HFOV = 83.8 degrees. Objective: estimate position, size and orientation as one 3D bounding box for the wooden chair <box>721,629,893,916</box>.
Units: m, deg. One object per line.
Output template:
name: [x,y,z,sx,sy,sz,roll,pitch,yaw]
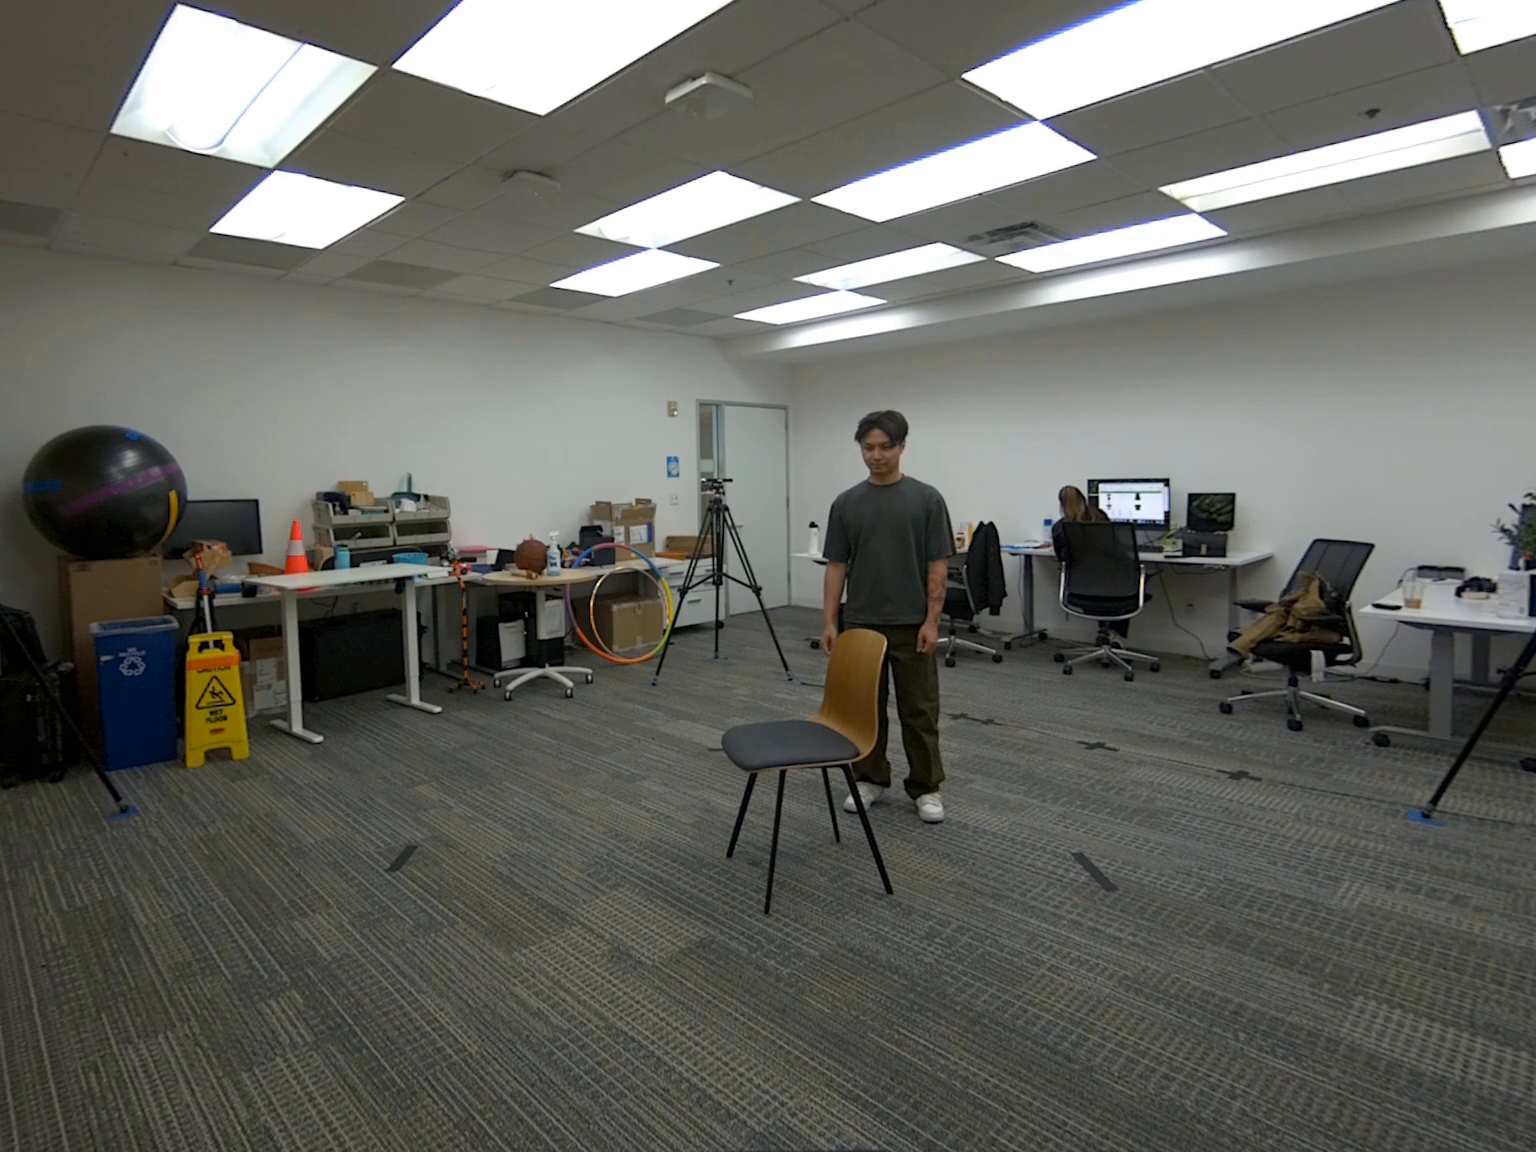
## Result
wooden chair: [0.122,0.630,2.974,0.514,0.875,0.487,2,4,-18]
